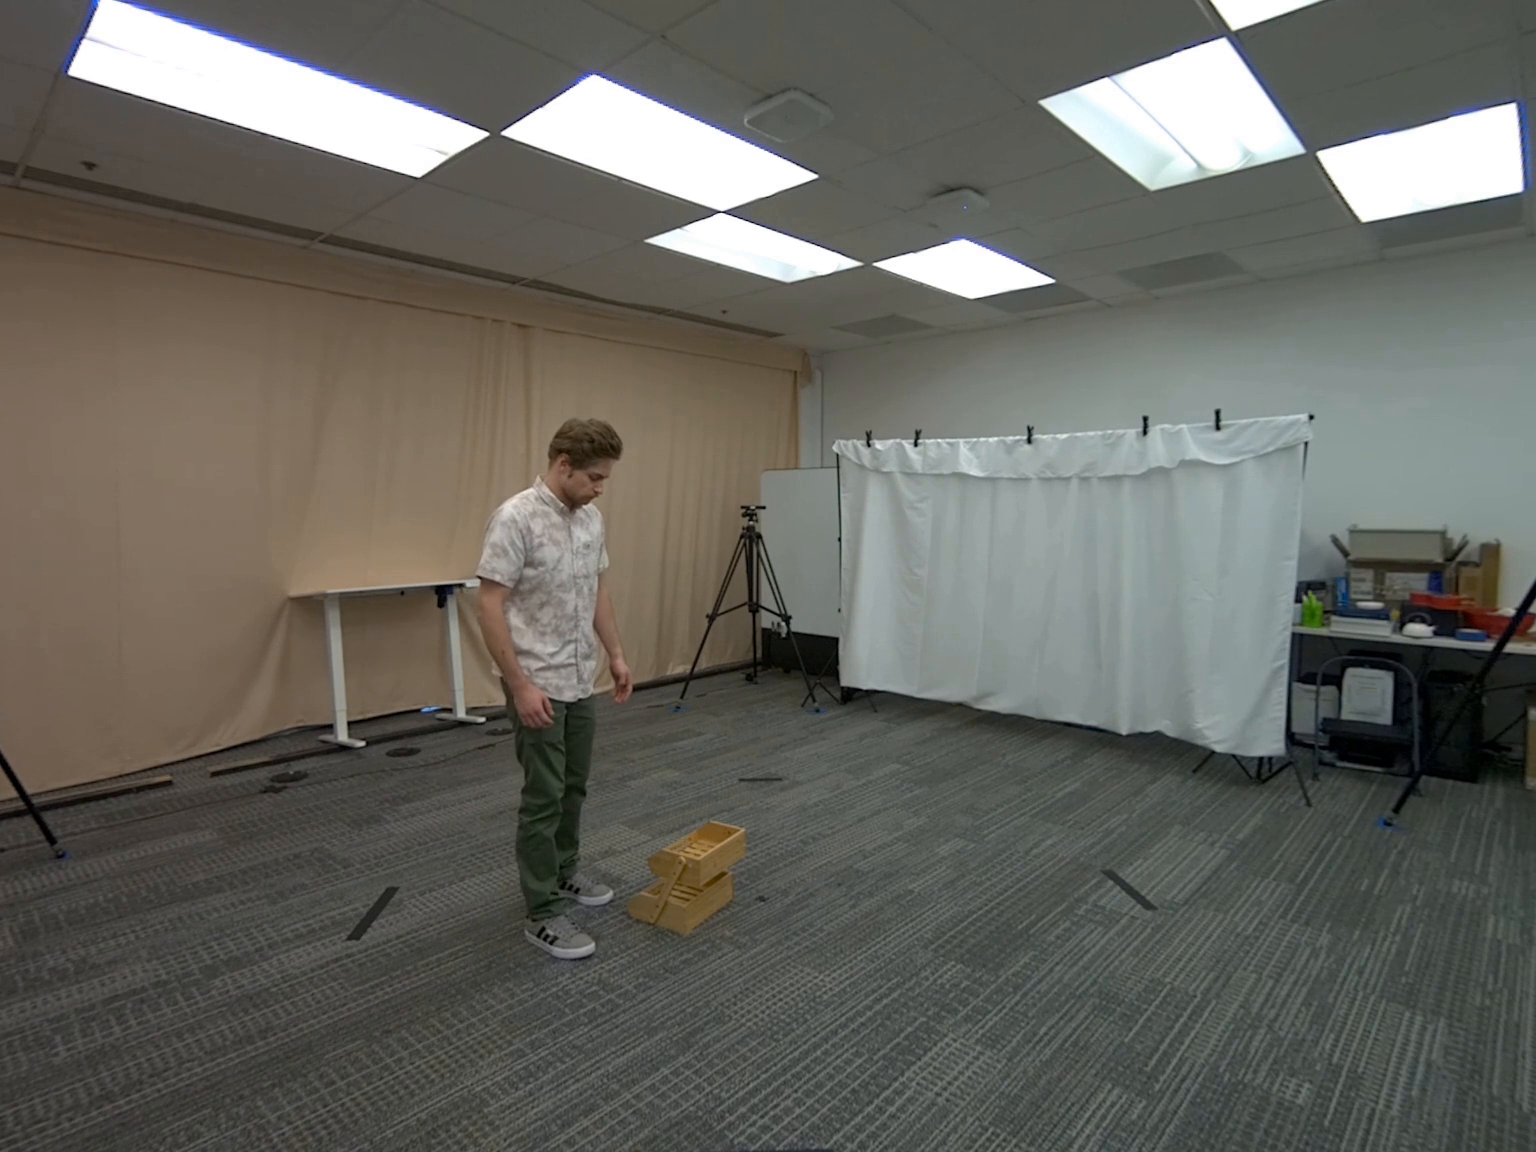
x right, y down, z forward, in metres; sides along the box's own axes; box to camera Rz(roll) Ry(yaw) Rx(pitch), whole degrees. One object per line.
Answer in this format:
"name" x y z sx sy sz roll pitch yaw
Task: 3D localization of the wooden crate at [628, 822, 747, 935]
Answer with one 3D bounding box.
"wooden crate" -0.282 1.021 2.904 0.311 0.272 0.316 4 5 30
